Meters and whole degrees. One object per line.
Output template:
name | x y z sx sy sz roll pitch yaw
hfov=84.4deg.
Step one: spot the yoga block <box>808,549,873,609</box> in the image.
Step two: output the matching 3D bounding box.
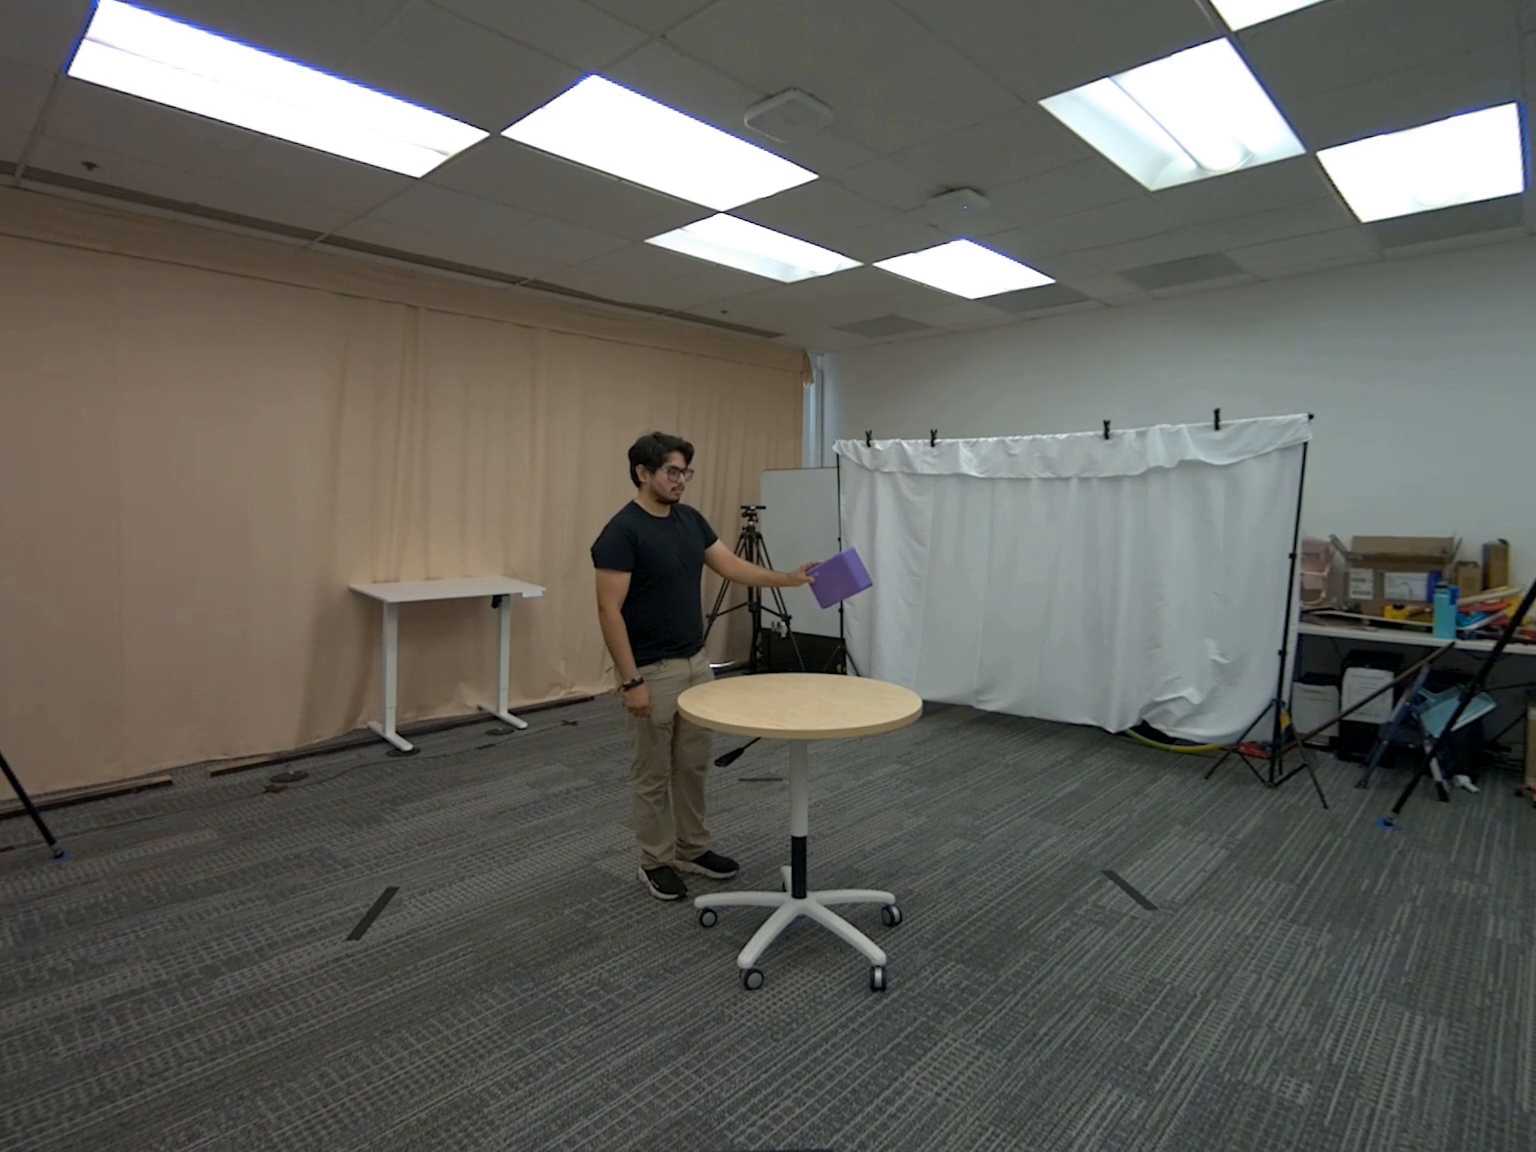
yoga block | 0.243 0.010 2.908 0.075 0.150 0.233 -21 -7 -36
